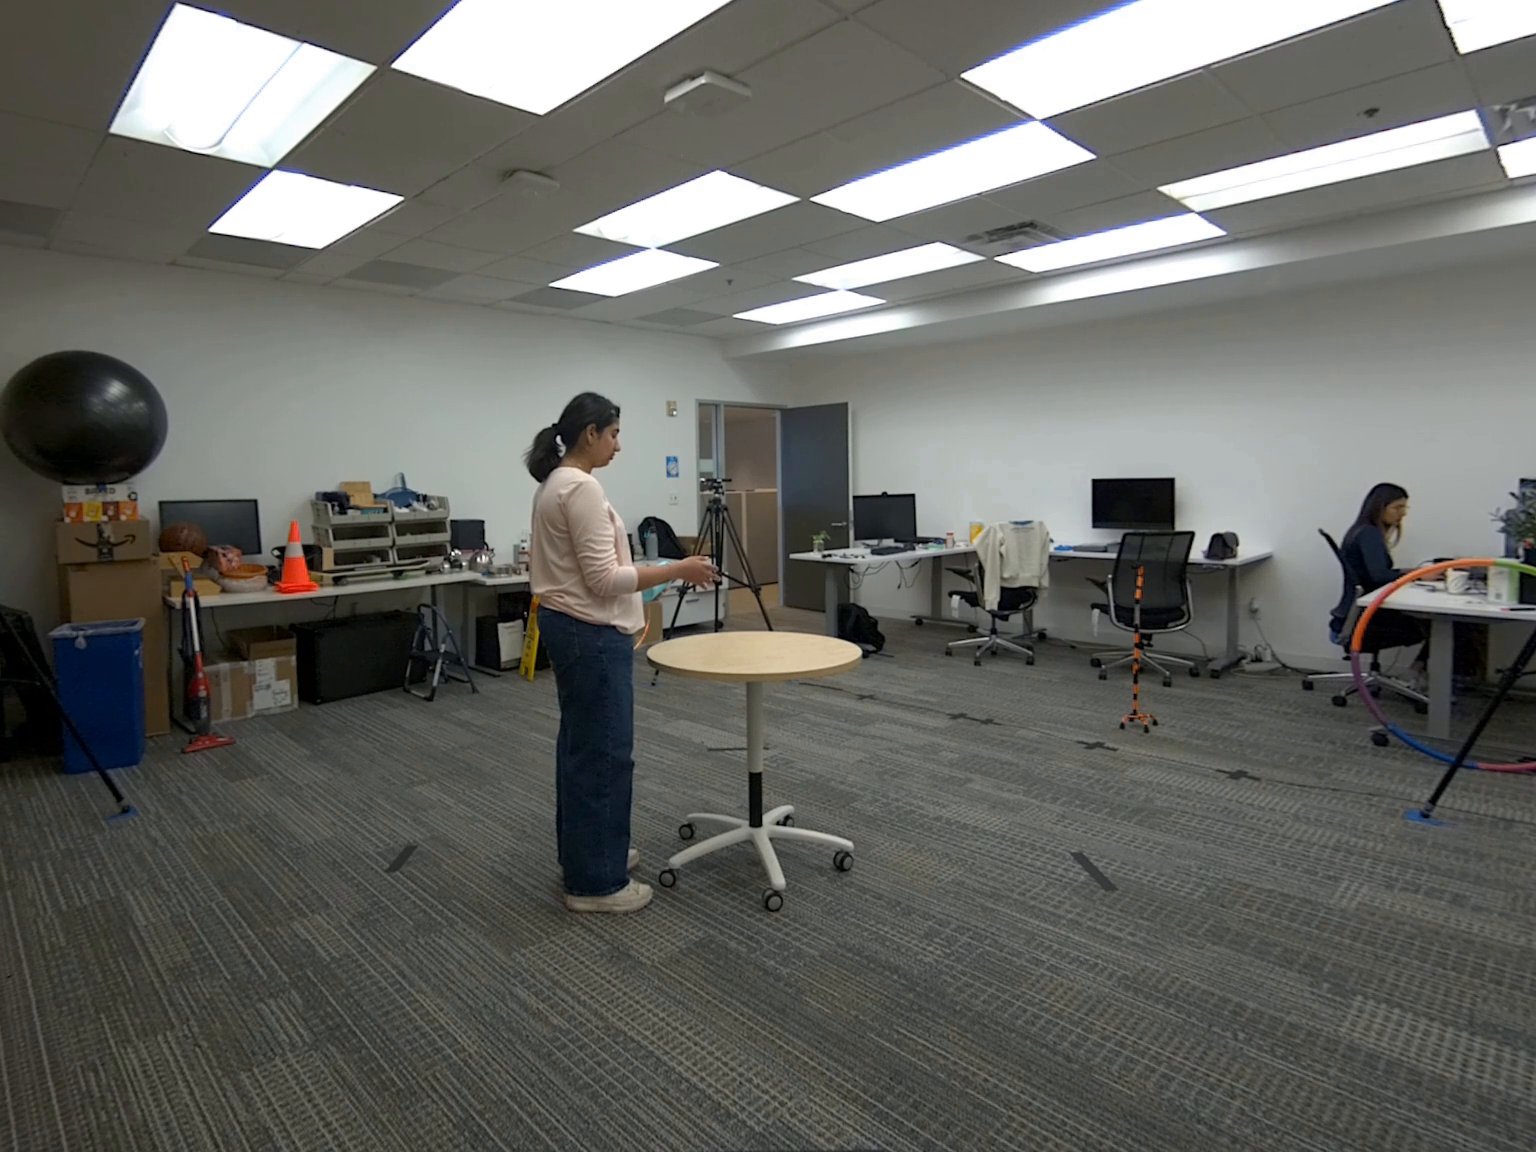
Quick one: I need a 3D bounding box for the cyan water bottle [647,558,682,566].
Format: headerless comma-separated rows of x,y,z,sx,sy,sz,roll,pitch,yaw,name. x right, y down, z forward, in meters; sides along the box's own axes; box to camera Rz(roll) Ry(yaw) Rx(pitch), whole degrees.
-0.409,0.011,3.185,0.094,0.091,0.281,1,19,25,cyan water bottle
